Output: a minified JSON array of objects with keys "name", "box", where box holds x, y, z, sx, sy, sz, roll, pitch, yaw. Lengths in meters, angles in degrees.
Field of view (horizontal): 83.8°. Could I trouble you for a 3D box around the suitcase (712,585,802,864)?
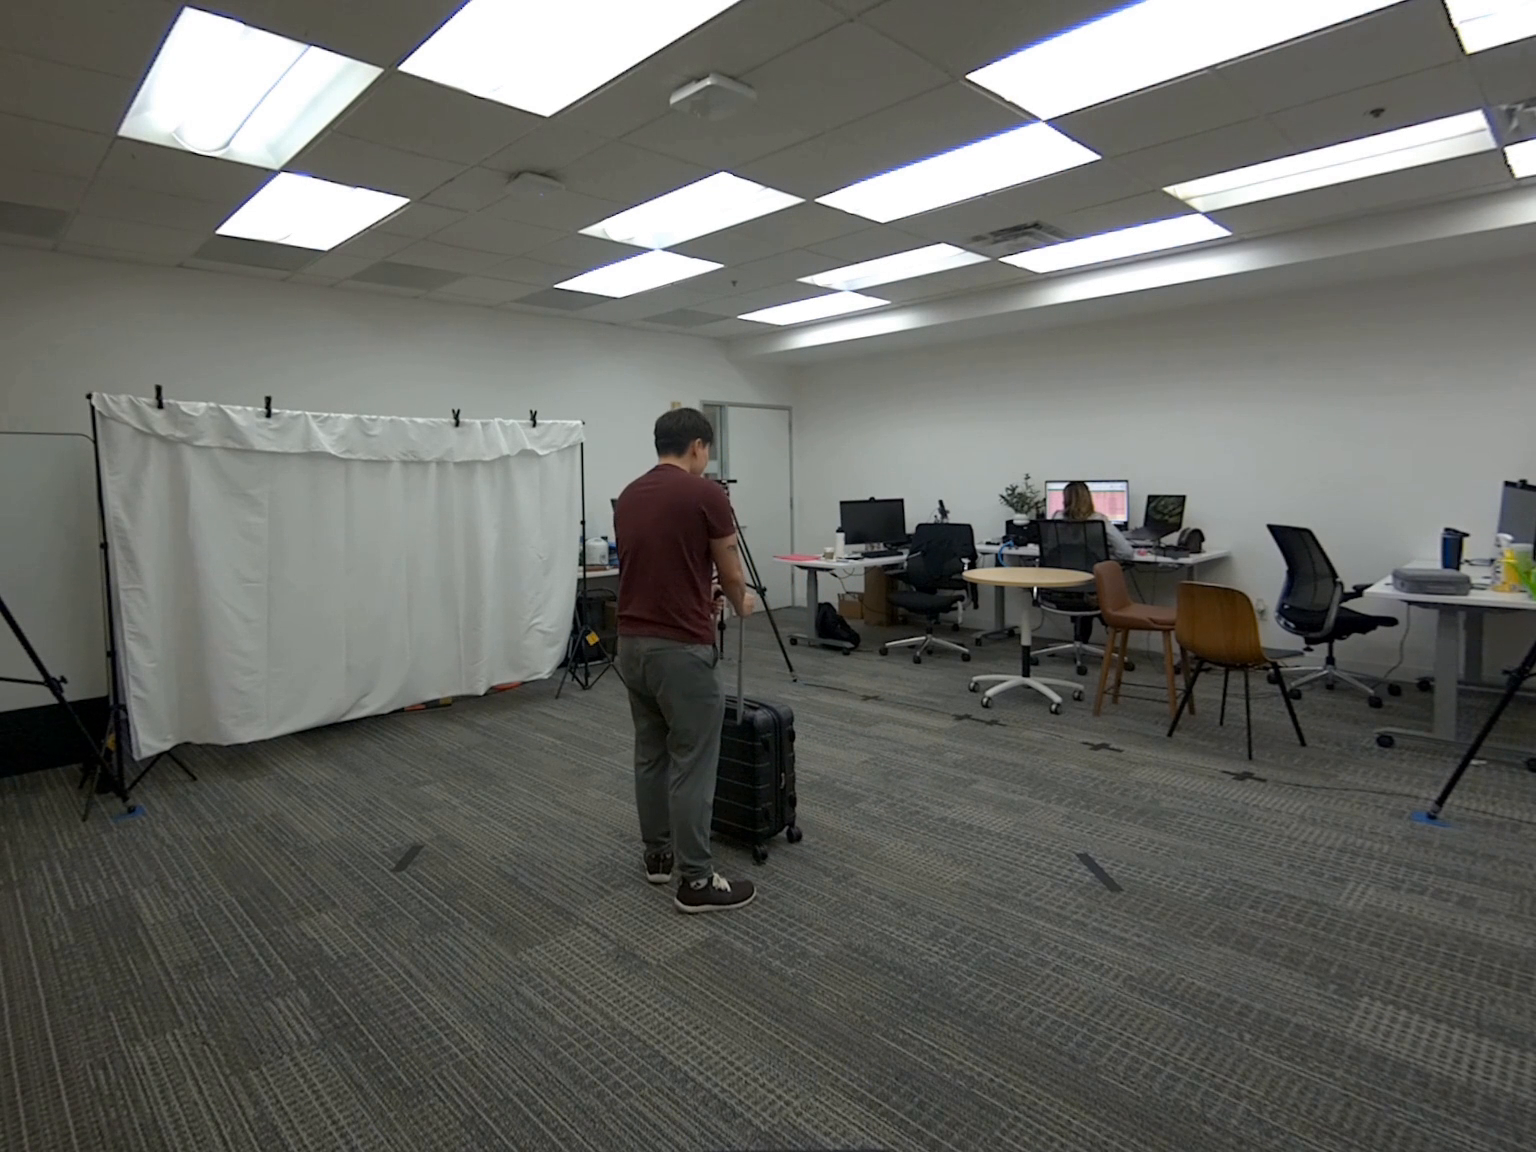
[{"name":"suitcase","box":[-0.086,0.548,3.325,0.395,0.979,0.250,0,0,39]}]
